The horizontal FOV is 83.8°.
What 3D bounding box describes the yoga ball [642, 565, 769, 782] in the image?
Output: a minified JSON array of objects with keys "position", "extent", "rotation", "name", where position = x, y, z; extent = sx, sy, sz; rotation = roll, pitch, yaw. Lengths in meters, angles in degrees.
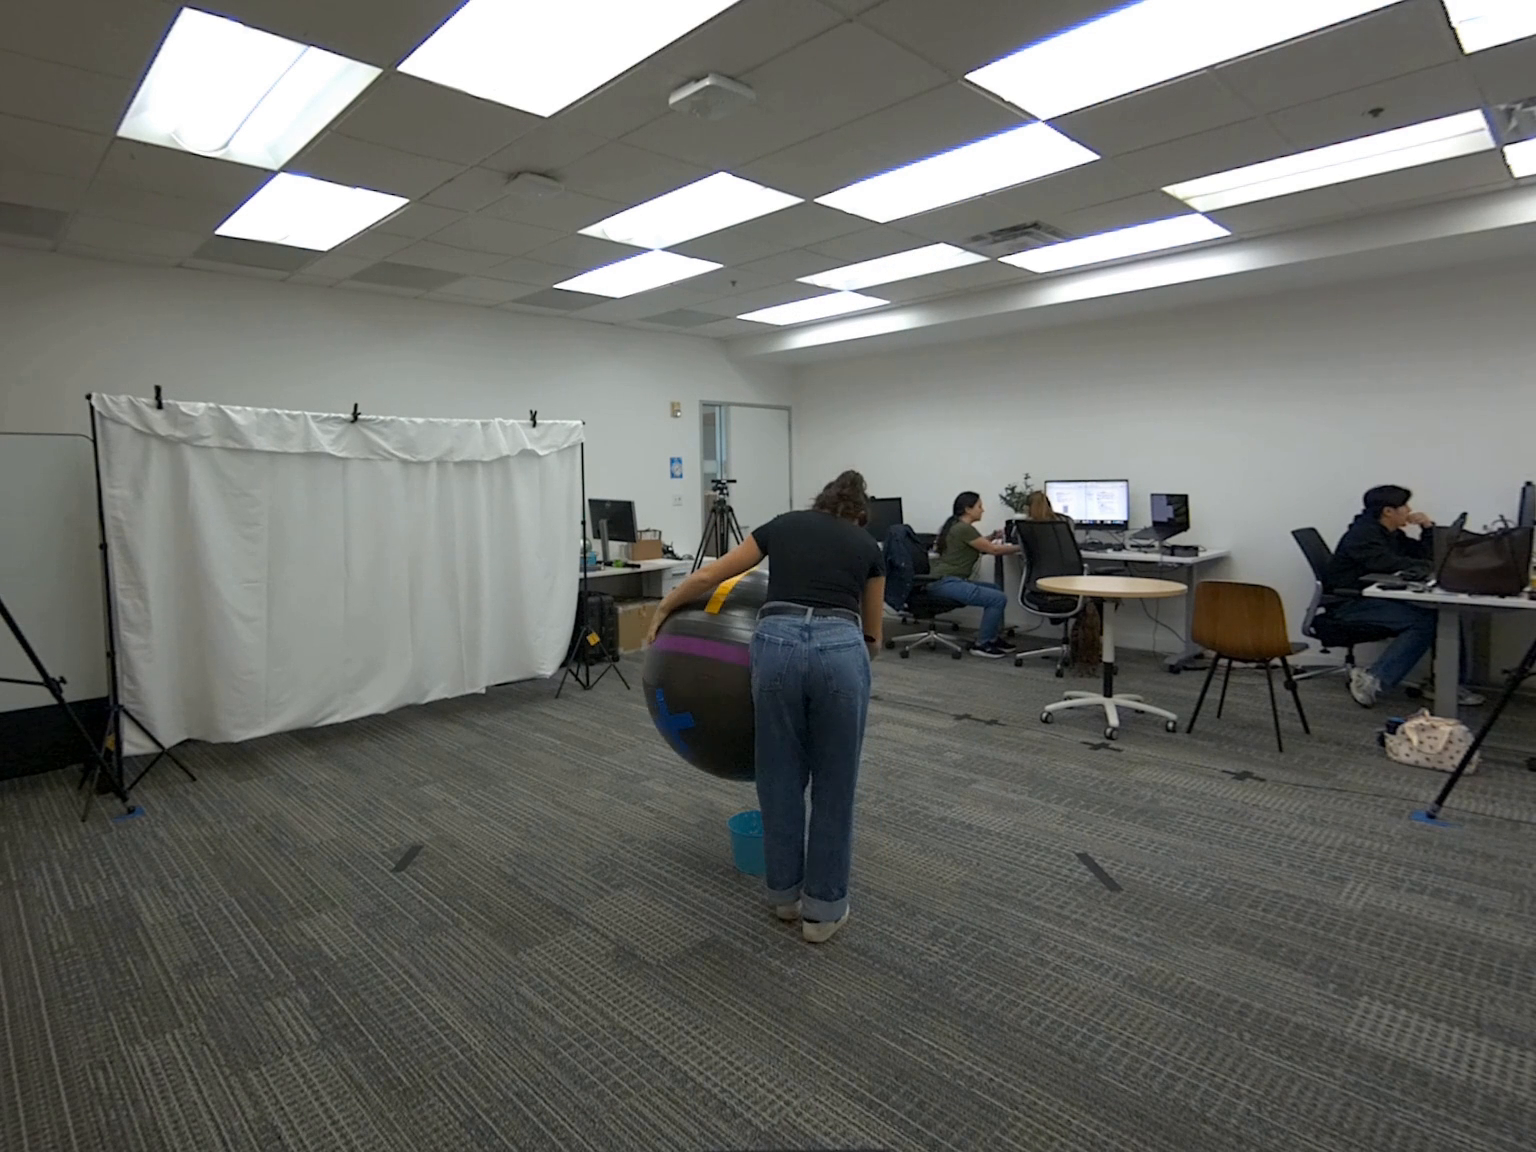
[{"position":[-0.073,0.343,3.097],"extent":[0.757,0.755,0.762],"rotation":[-1,5,-2],"name":"yoga ball"}]
